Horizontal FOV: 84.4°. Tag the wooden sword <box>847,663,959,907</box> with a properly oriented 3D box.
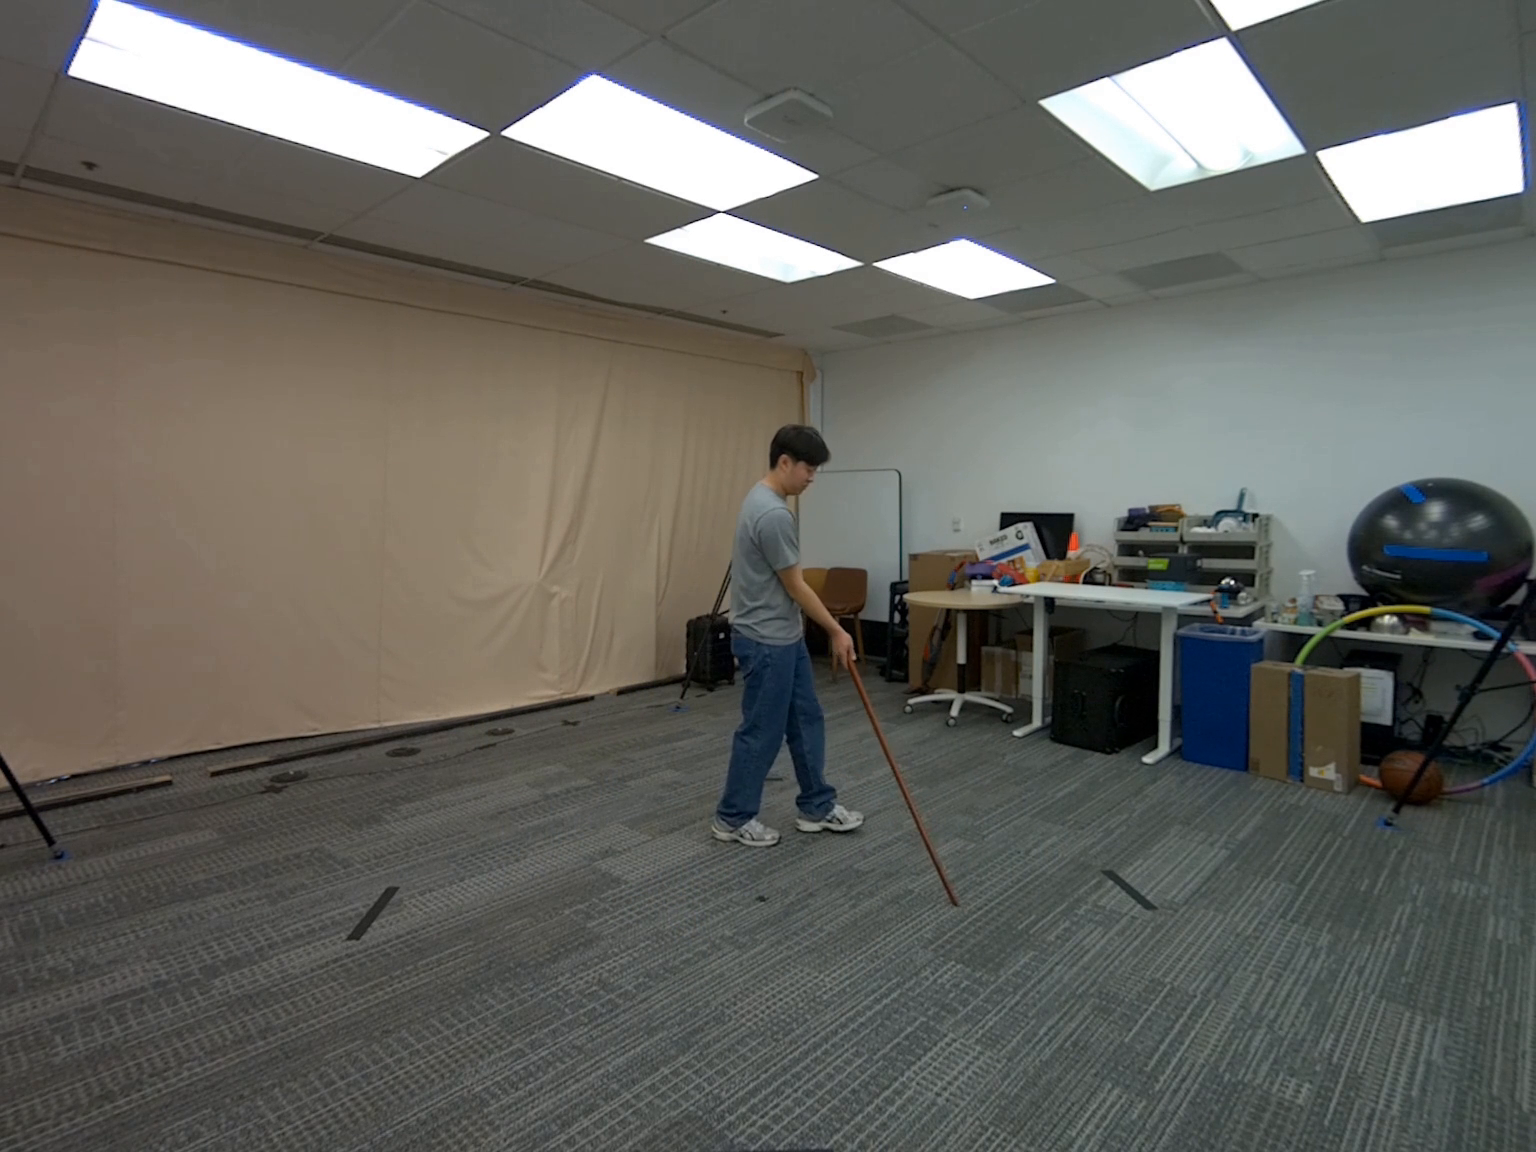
[{"bbox_3d":[0.499,0.722,3.159,0.050,1.049,0.024,-13,-27,-21],"label":"wooden sword"}]
